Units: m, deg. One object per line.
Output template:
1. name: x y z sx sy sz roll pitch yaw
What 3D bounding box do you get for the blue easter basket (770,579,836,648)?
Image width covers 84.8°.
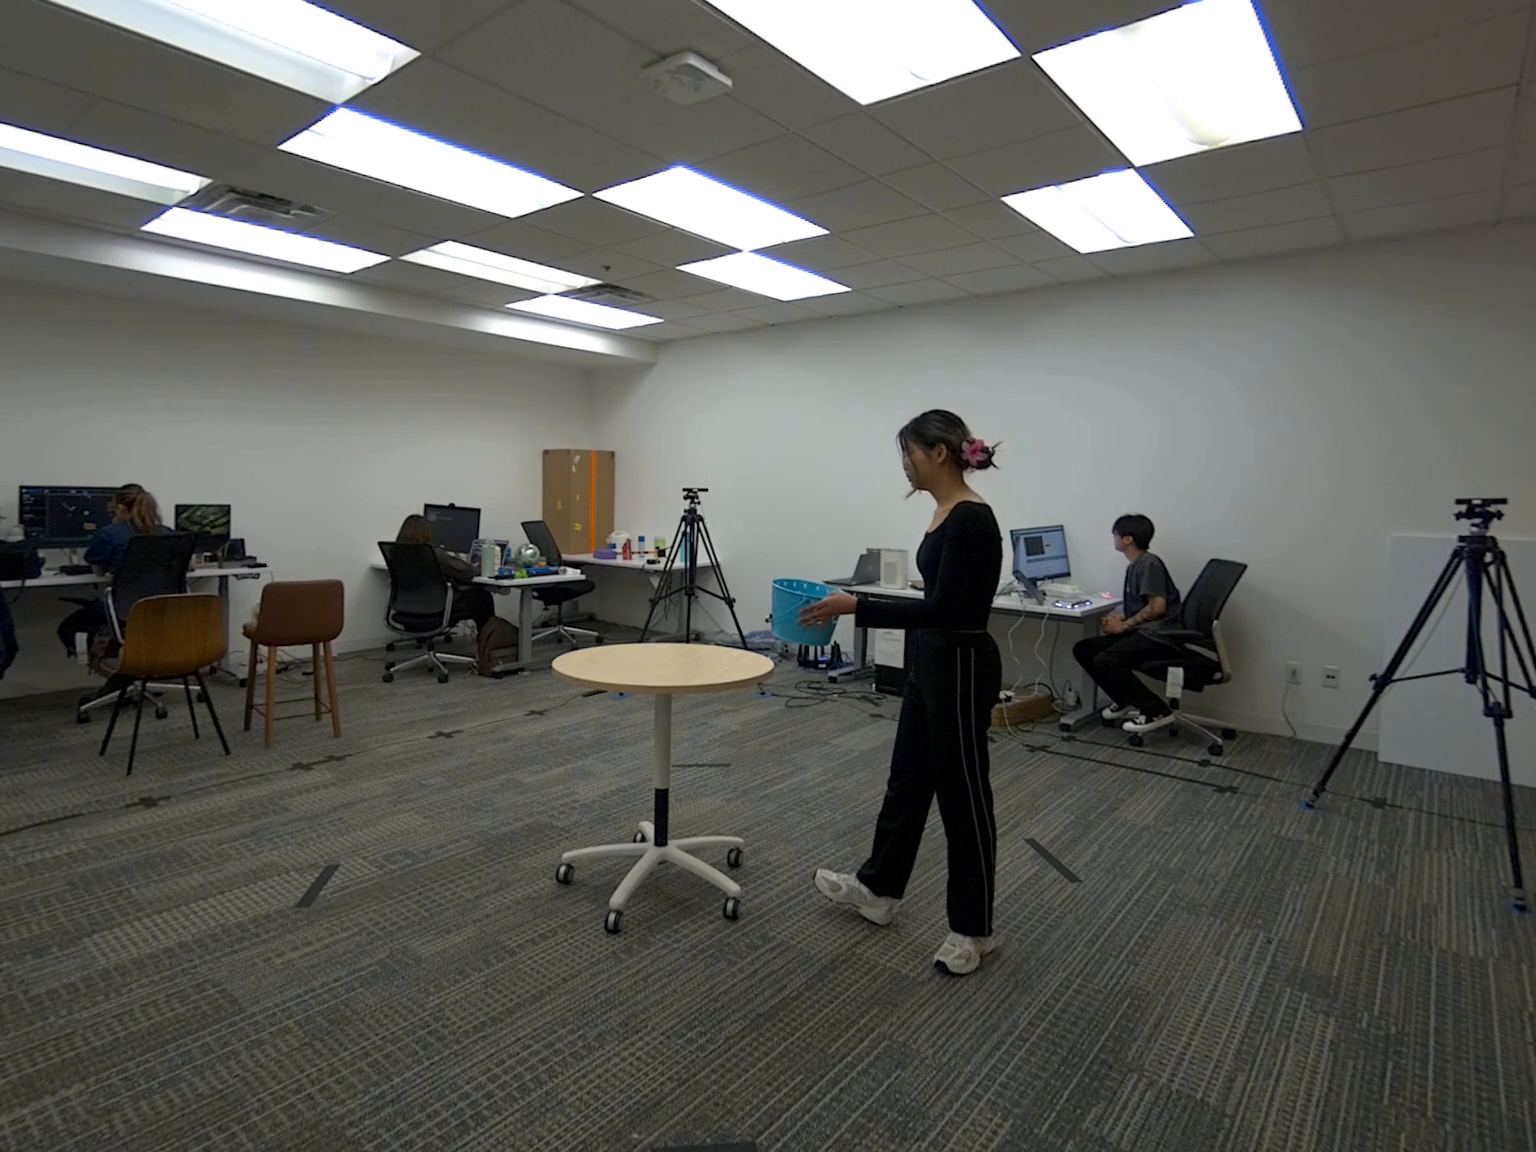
1. blue easter basket: 0.113 0.122 2.549 0.243 0.154 0.247 10 13 -4
